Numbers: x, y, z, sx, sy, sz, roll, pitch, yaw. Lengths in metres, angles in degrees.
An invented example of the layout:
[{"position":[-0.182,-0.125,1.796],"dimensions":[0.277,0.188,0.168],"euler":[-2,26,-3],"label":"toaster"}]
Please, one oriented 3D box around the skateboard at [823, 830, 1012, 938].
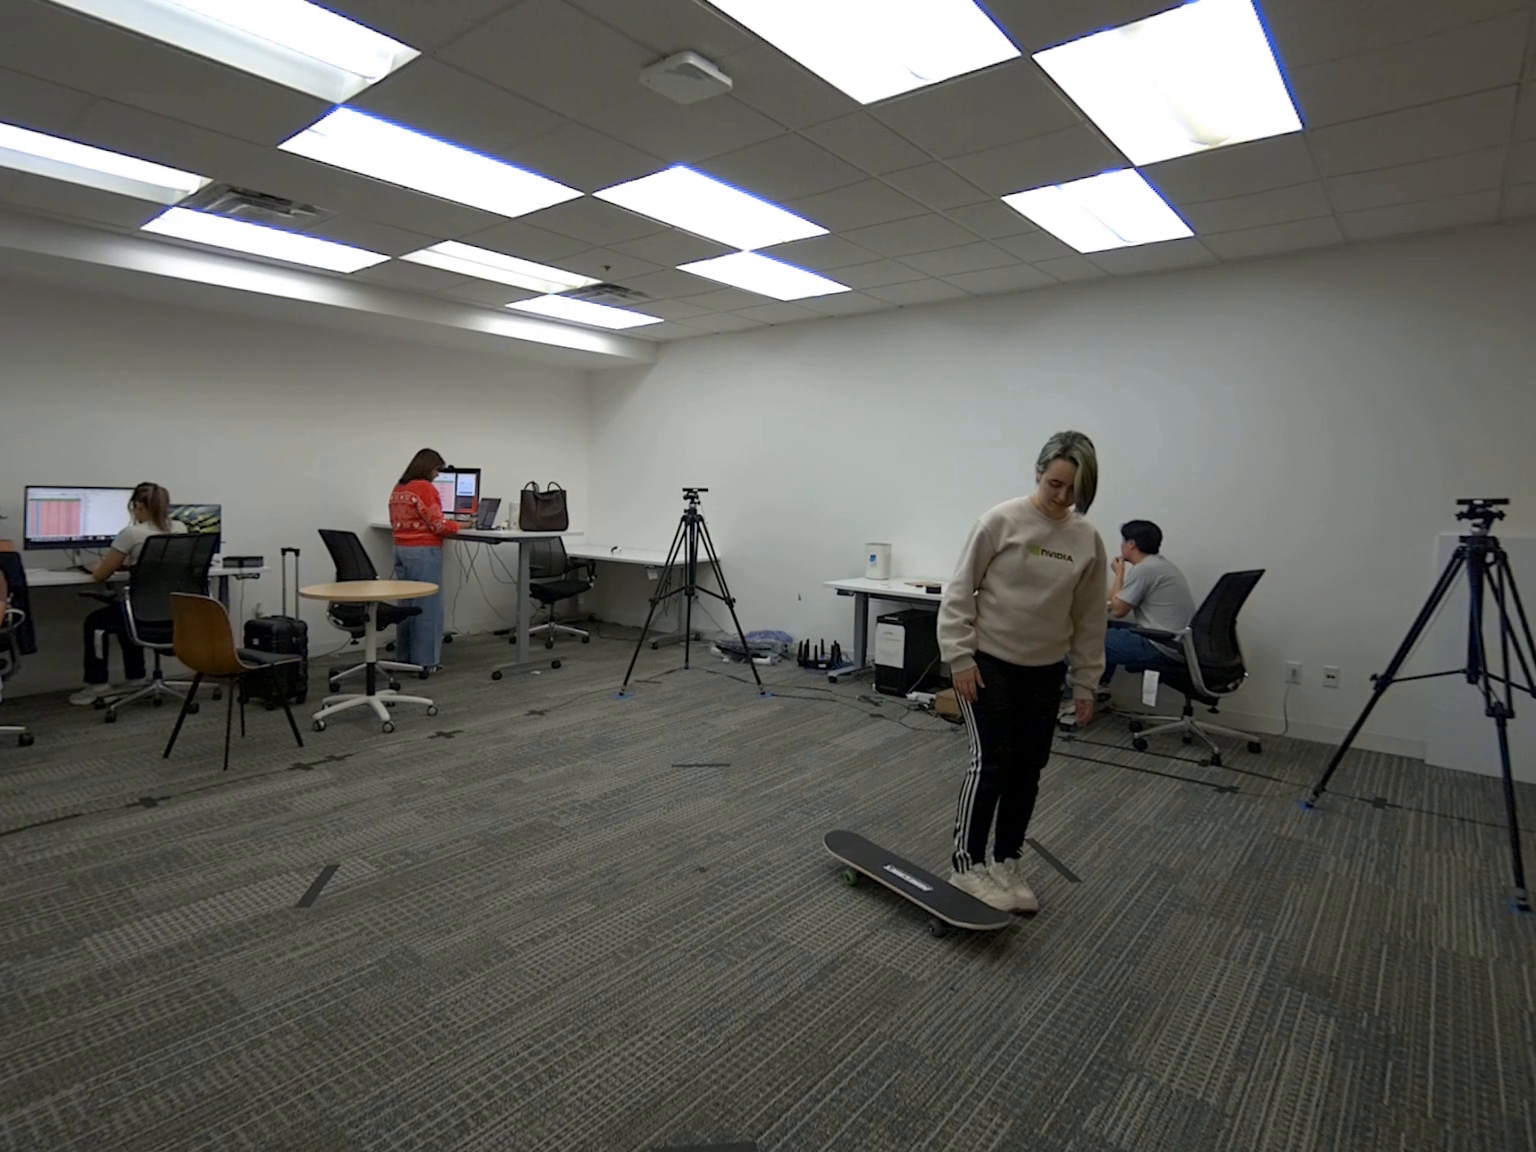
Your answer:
[{"position":[0.461,1.046,2.887],"dimensions":[0.188,0.110,0.811],"euler":[-2,6,-35],"label":"skateboard"}]
